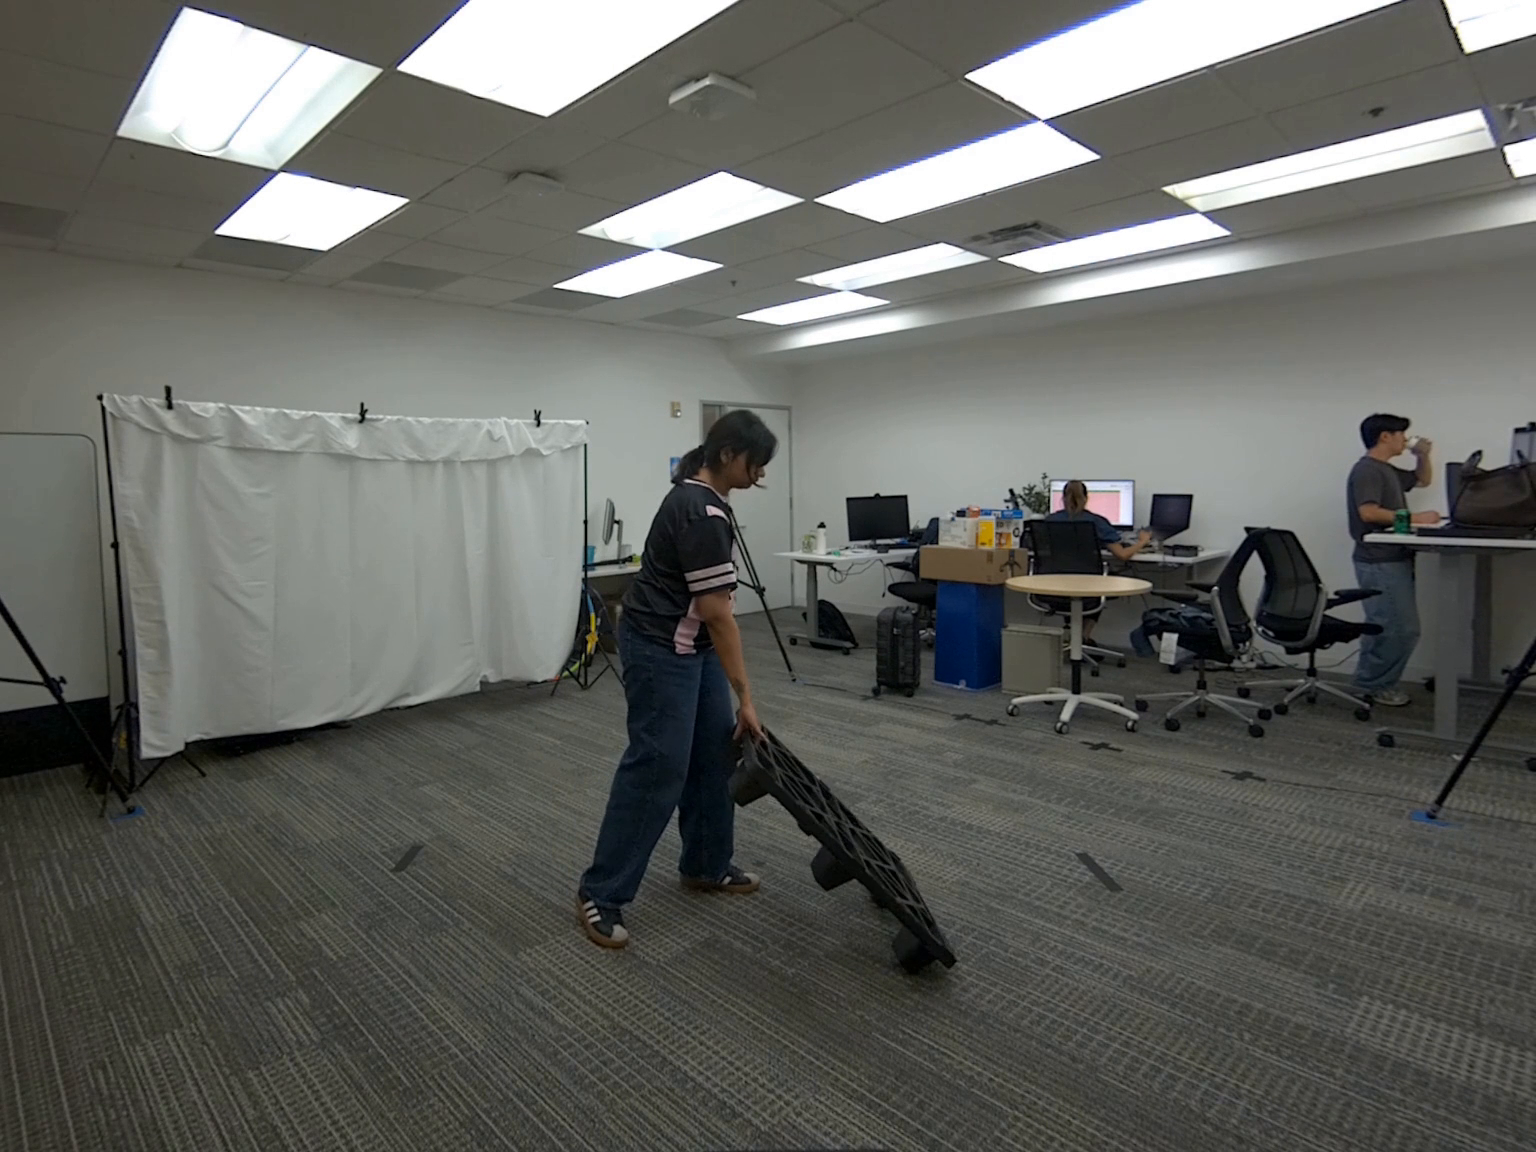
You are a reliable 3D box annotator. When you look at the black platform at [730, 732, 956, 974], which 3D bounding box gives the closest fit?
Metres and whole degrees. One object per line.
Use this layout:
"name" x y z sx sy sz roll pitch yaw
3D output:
"black platform" 0.181 0.789 2.600 0.143 0.801 0.609 -44 5 2
